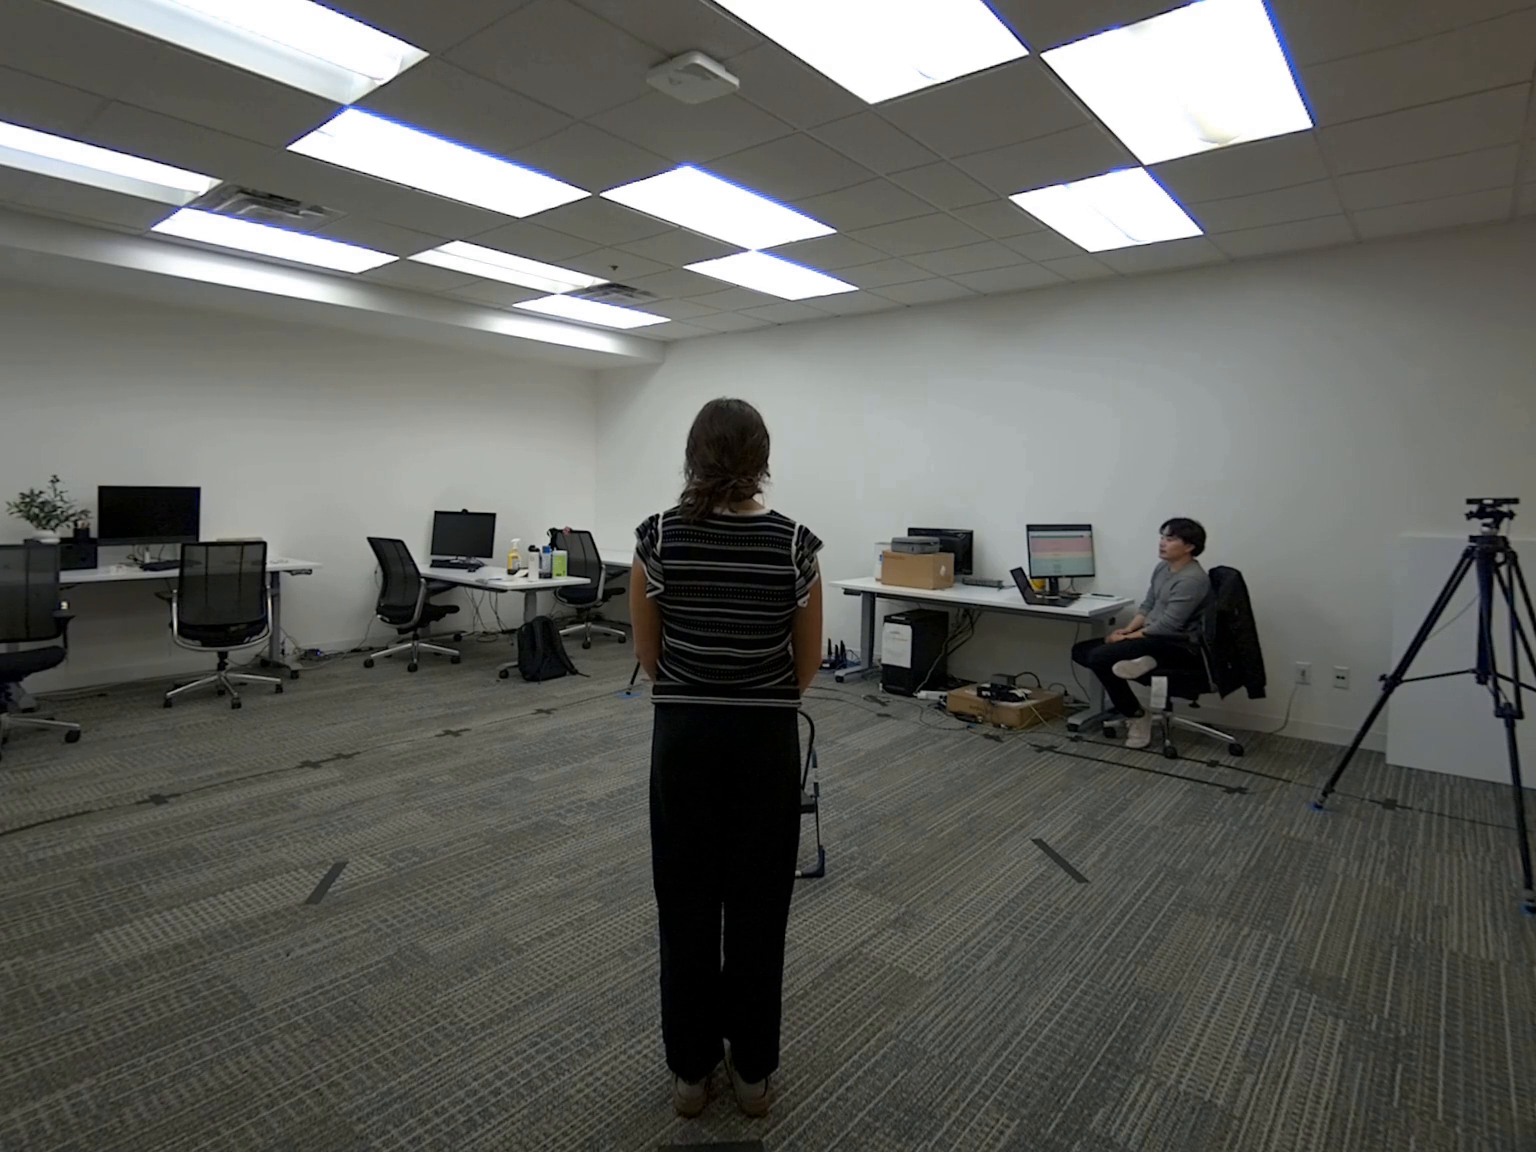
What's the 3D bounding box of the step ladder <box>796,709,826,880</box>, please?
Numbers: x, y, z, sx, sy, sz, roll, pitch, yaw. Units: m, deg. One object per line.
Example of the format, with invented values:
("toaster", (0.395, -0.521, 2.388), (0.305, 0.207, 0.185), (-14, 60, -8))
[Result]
("step ladder", (-0.041, 0.761, 3.158), (0.423, 0.604, 0.356), (0, 4, -16))
